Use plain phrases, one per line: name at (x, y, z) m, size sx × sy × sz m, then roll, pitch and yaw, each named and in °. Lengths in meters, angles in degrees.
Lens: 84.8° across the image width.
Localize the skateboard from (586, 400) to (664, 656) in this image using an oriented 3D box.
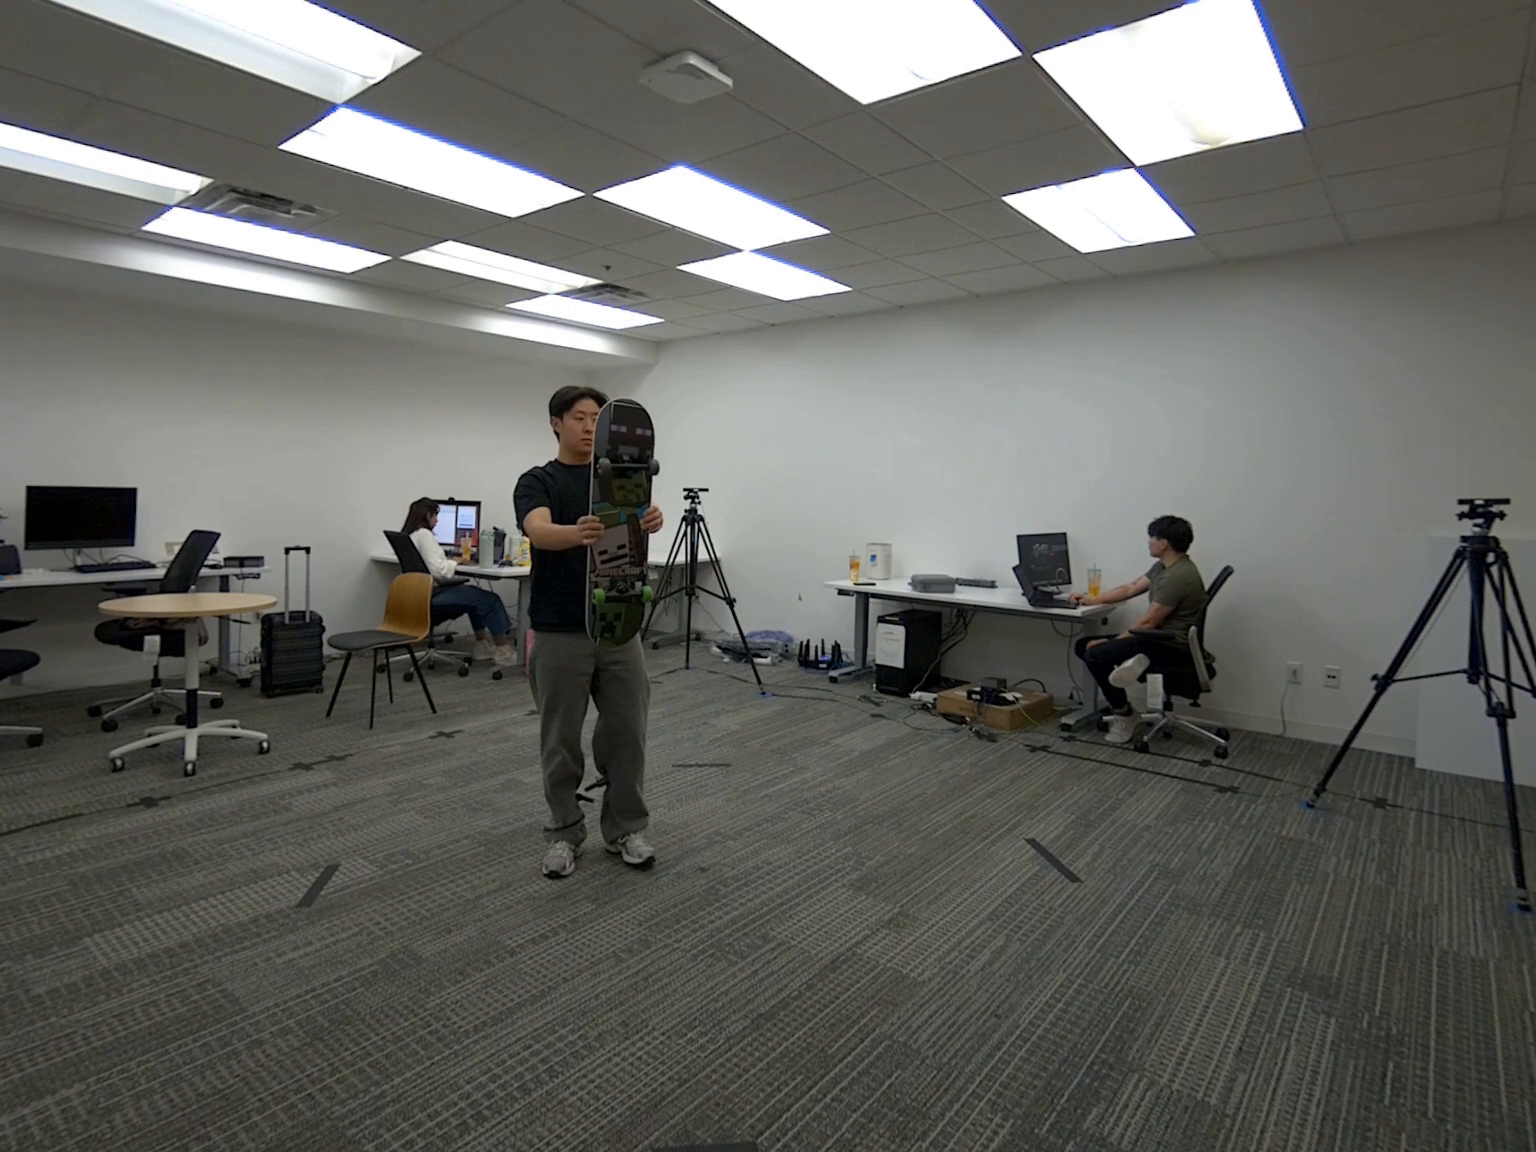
skateboard at (-0.450, -0.141, 2.589) m, size 0.189 × 0.777 × 0.114 m, roll -2°, pitch 13°, yaw -27°
